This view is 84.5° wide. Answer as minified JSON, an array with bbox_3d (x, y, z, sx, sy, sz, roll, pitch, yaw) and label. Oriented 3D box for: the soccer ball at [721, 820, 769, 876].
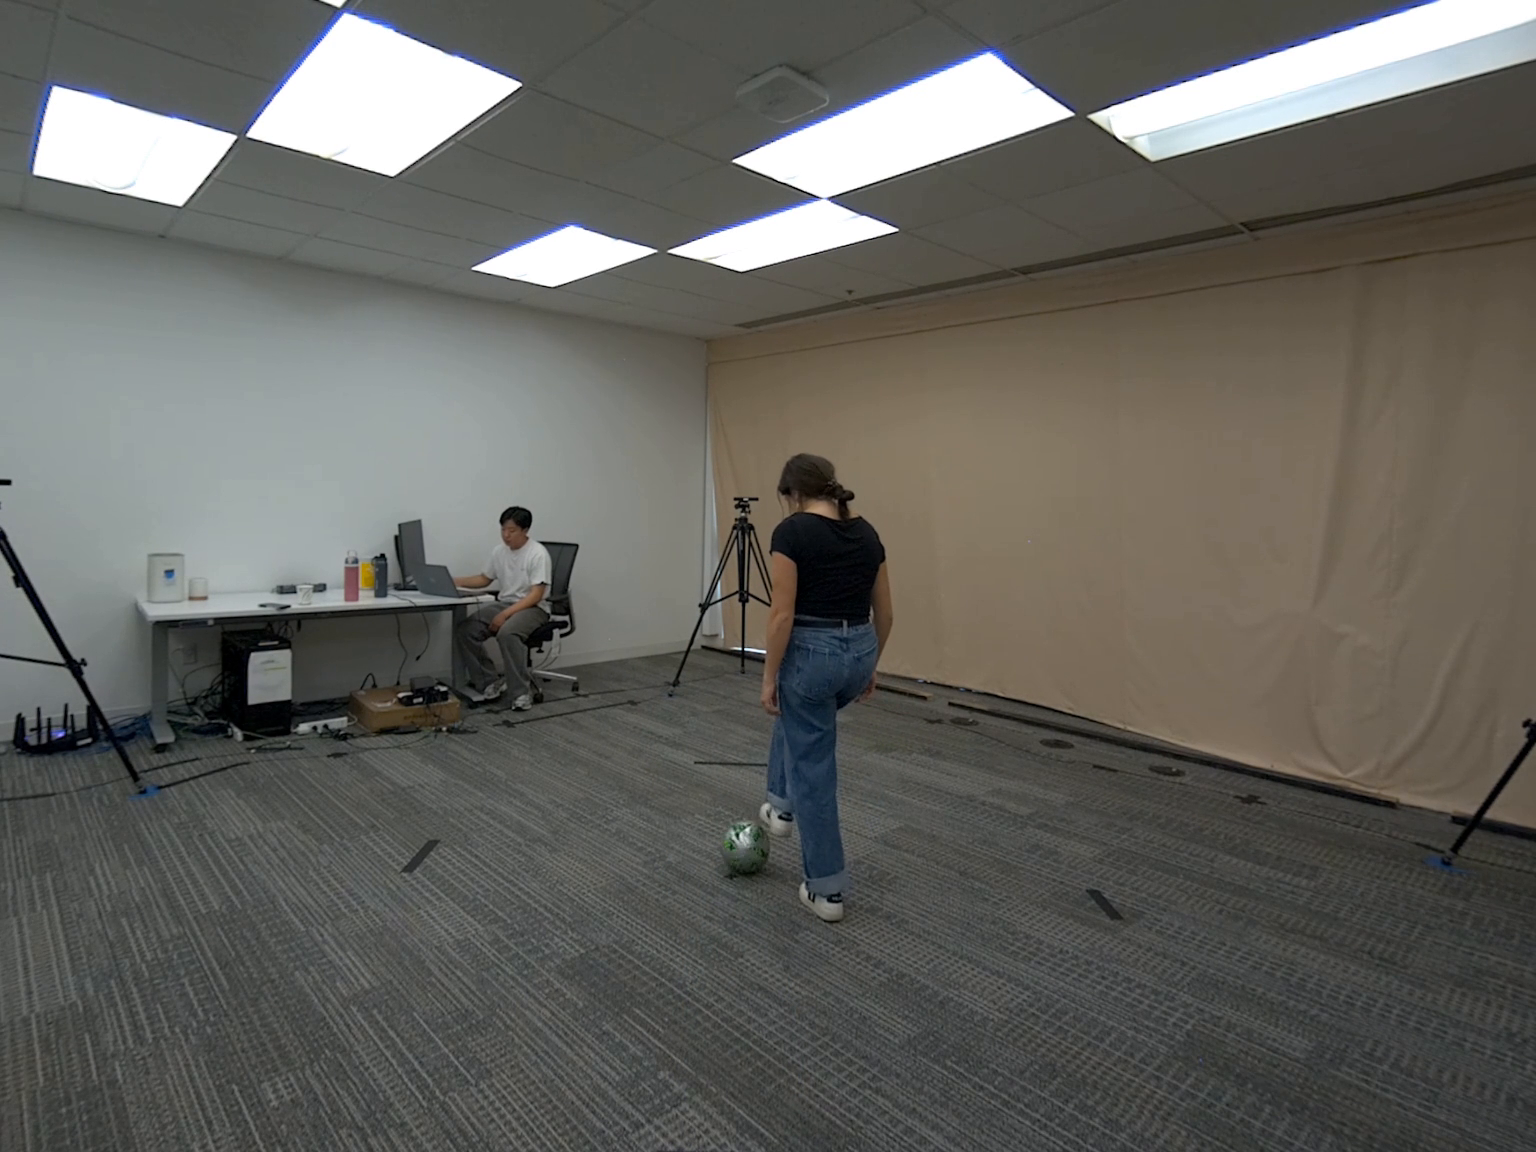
[{"bbox_3d":[-0.089,1.013,3.144,0.187,0.187,0.188,1,4,-1],"label":"soccer ball"}]
